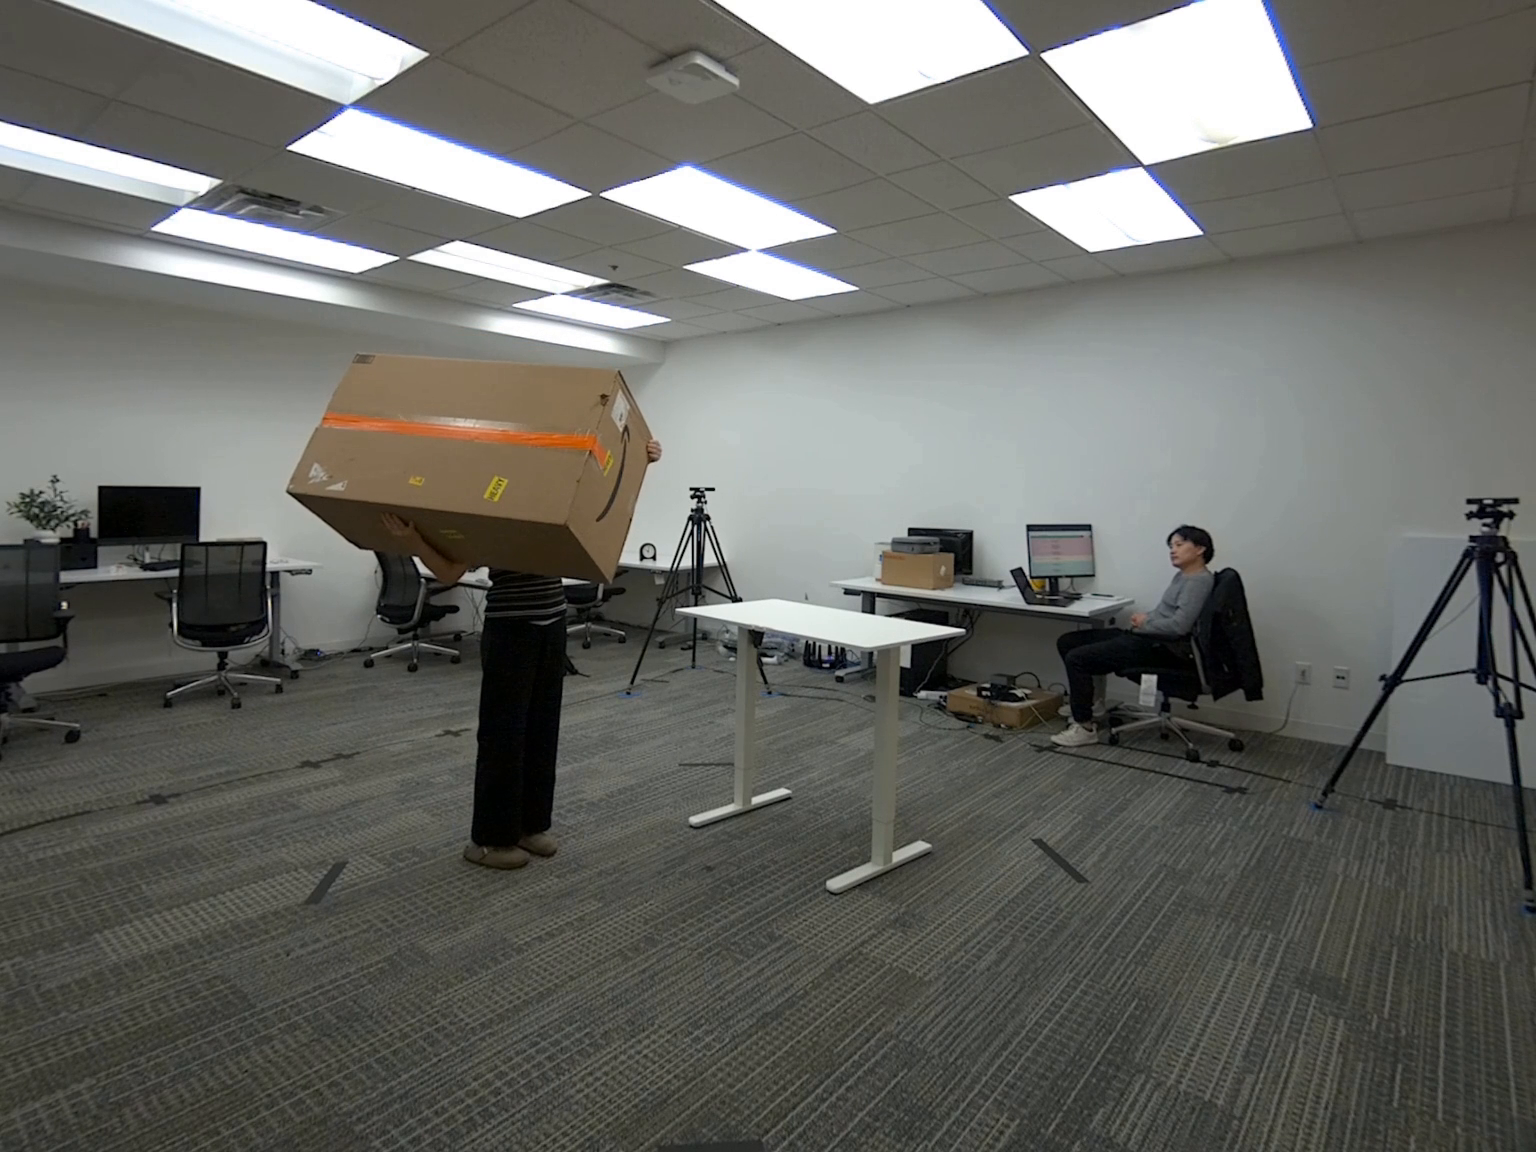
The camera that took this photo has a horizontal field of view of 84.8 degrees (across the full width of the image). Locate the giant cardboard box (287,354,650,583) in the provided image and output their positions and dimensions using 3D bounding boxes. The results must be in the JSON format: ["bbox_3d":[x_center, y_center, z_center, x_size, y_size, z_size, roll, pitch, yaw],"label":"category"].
[{"bbox_3d":[-0.996,-0.382,2.912,1.045,0.586,0.412,7,-25,16],"label":"giant cardboard box"}]
